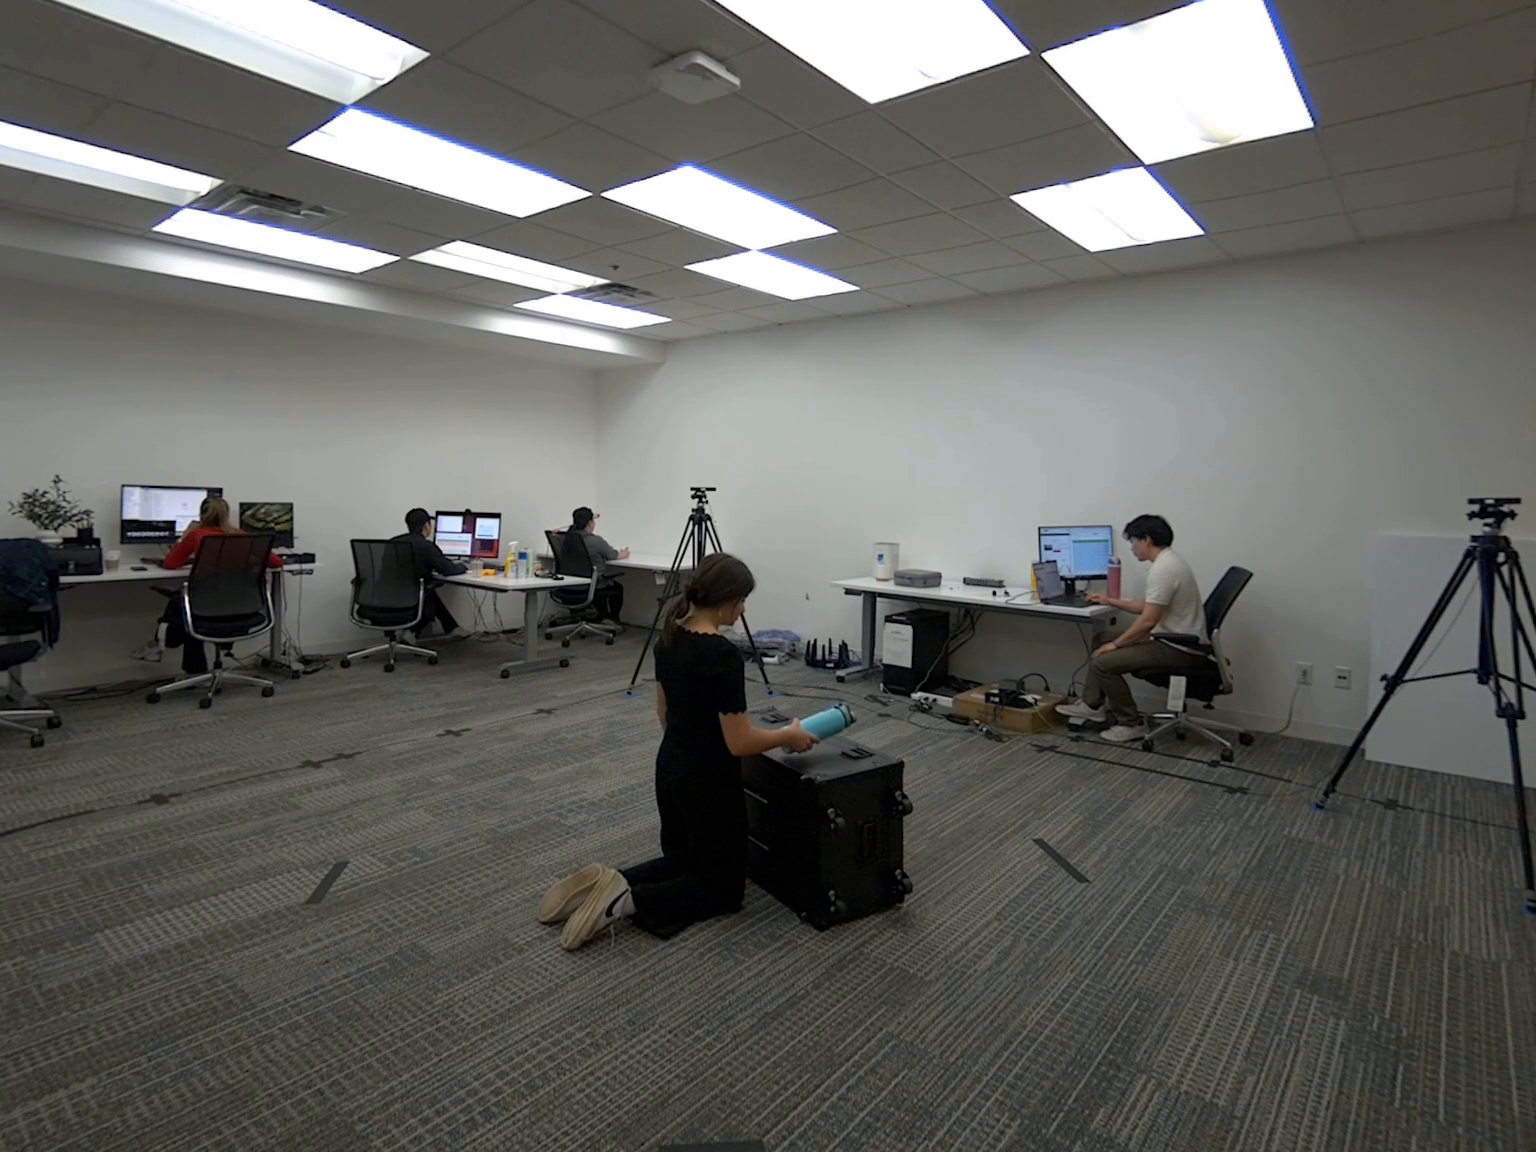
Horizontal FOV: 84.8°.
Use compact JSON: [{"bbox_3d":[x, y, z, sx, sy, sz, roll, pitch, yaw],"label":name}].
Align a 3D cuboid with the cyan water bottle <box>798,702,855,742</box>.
[{"bbox_3d":[0.168,0.517,2.935,0.280,0.091,0.095,-19,11,-20],"label":"cyan water bottle"}]
